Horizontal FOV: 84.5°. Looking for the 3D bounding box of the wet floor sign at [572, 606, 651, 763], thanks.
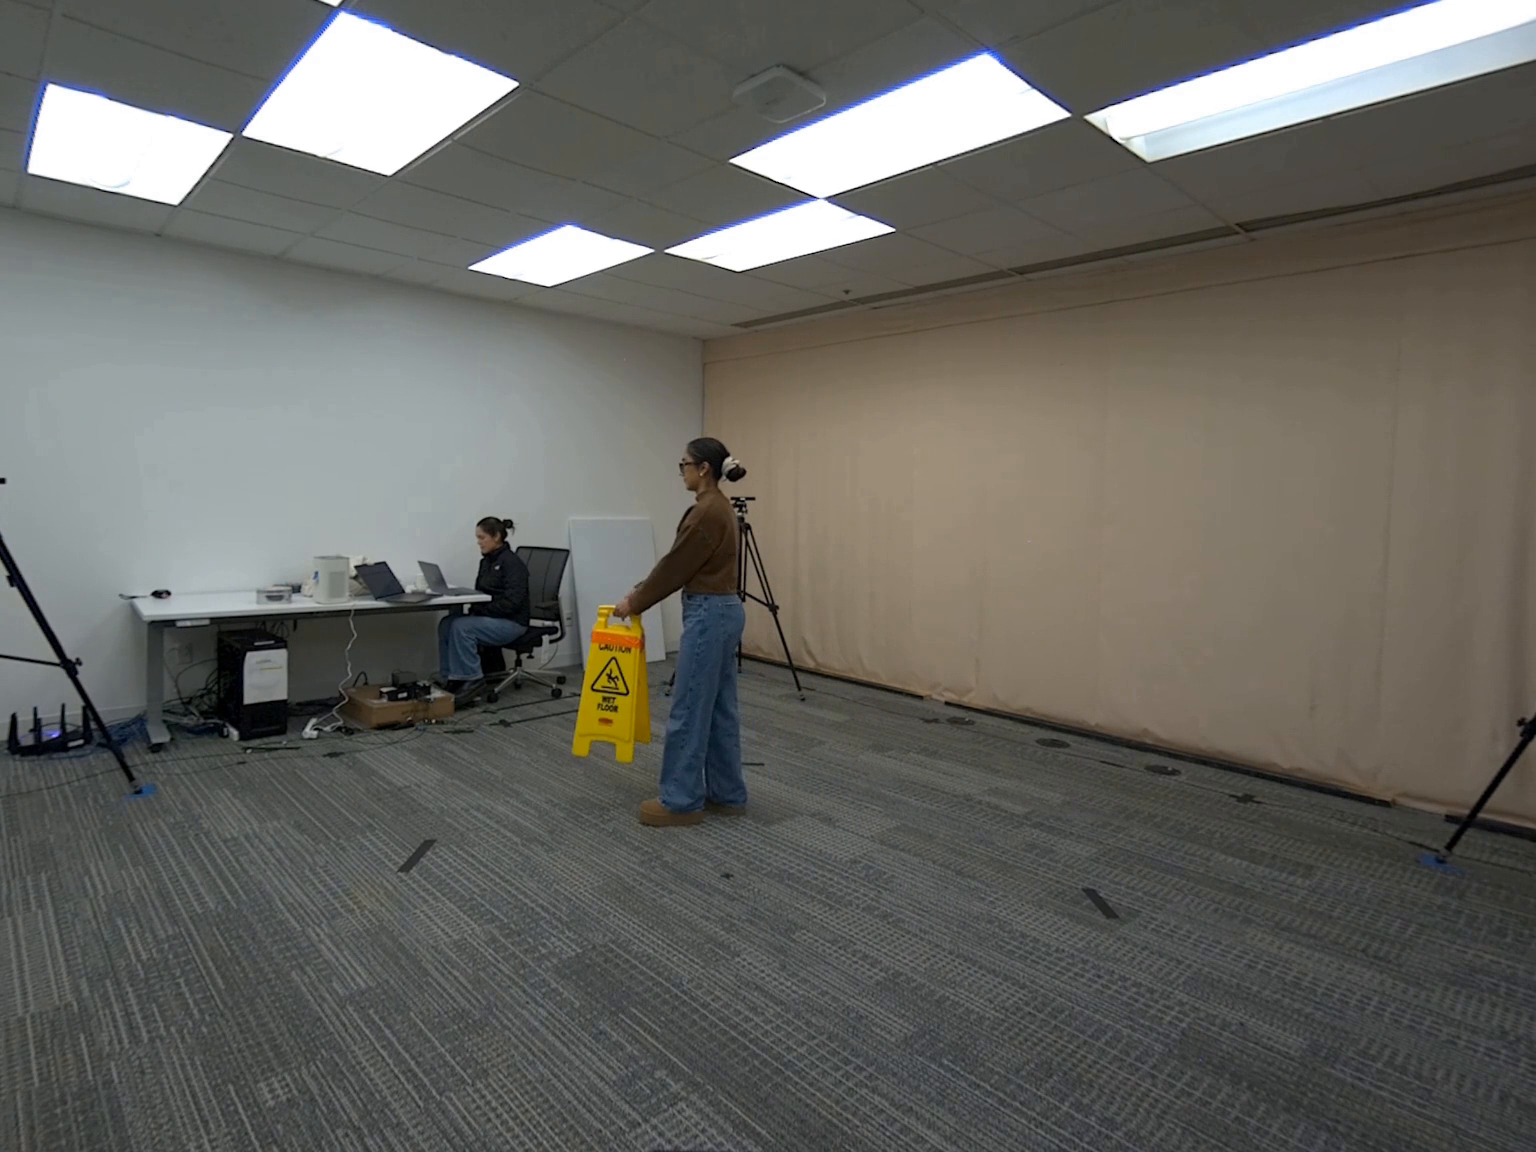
[{"bbox_3d":[-0.681,0.457,3.754,0.285,0.643,0.289,5,7,9],"label":"wet floor sign"}]
